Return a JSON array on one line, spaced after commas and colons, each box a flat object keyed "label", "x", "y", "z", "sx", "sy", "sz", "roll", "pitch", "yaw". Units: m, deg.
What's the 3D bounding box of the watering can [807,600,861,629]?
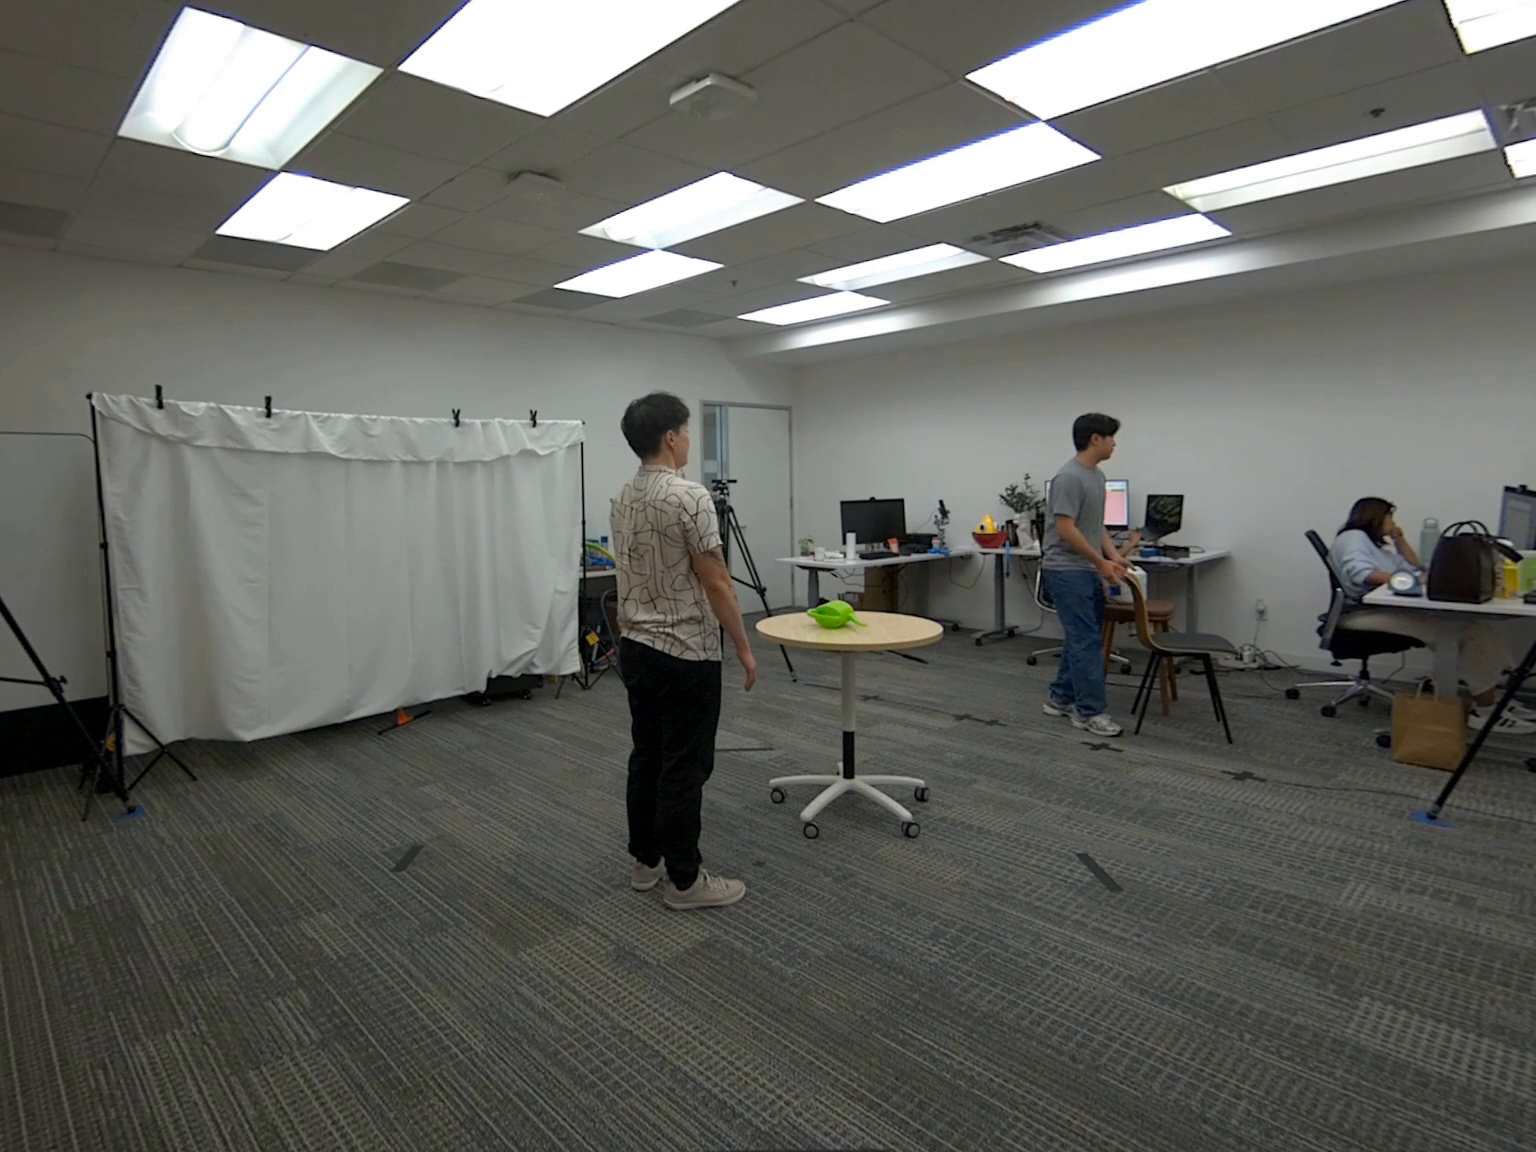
[{"label": "watering can", "x": 0.303, "y": 0.178, "z": 3.517, "sx": 0.287, "sy": 0.097, "sz": 0.173, "roll": 23, "pitch": 16, "yaw": 27}]
